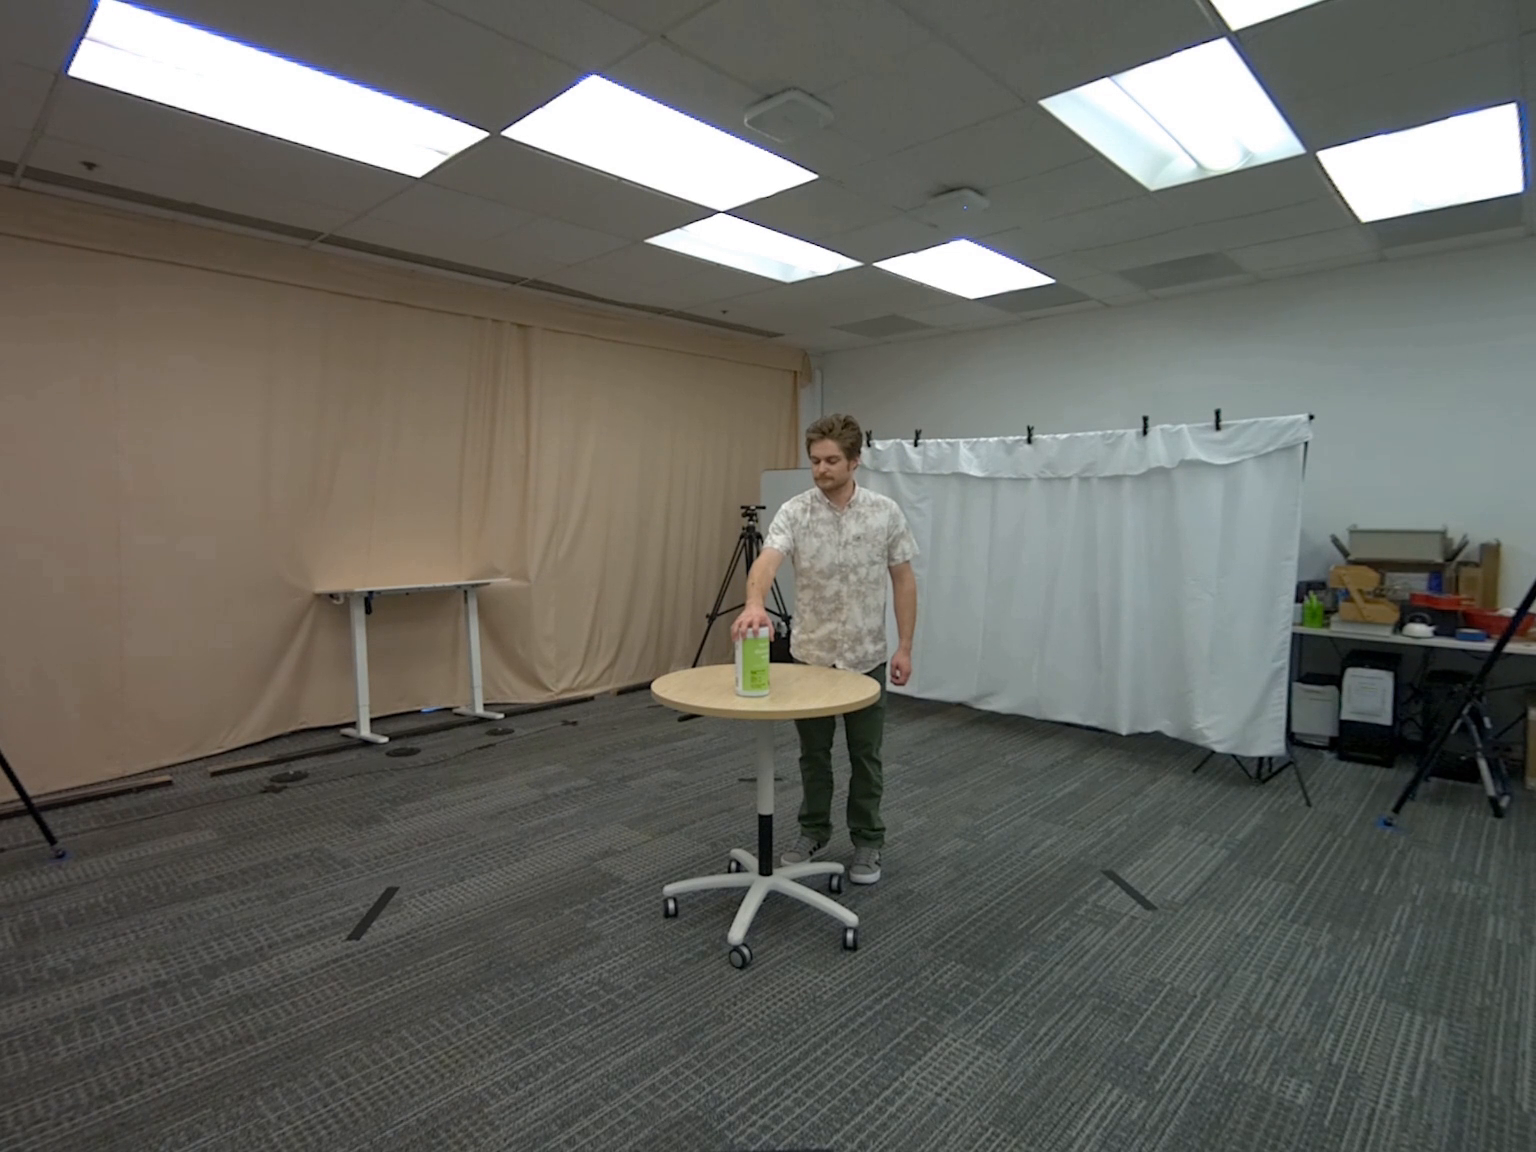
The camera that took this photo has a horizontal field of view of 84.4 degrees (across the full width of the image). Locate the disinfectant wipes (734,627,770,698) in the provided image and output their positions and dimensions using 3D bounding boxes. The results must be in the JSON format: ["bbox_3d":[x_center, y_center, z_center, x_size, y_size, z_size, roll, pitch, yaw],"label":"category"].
[{"bbox_3d":[-0.046,0.267,2.677,0.118,0.217,0.118,0,1,-2],"label":"disinfectant wipes"}]
